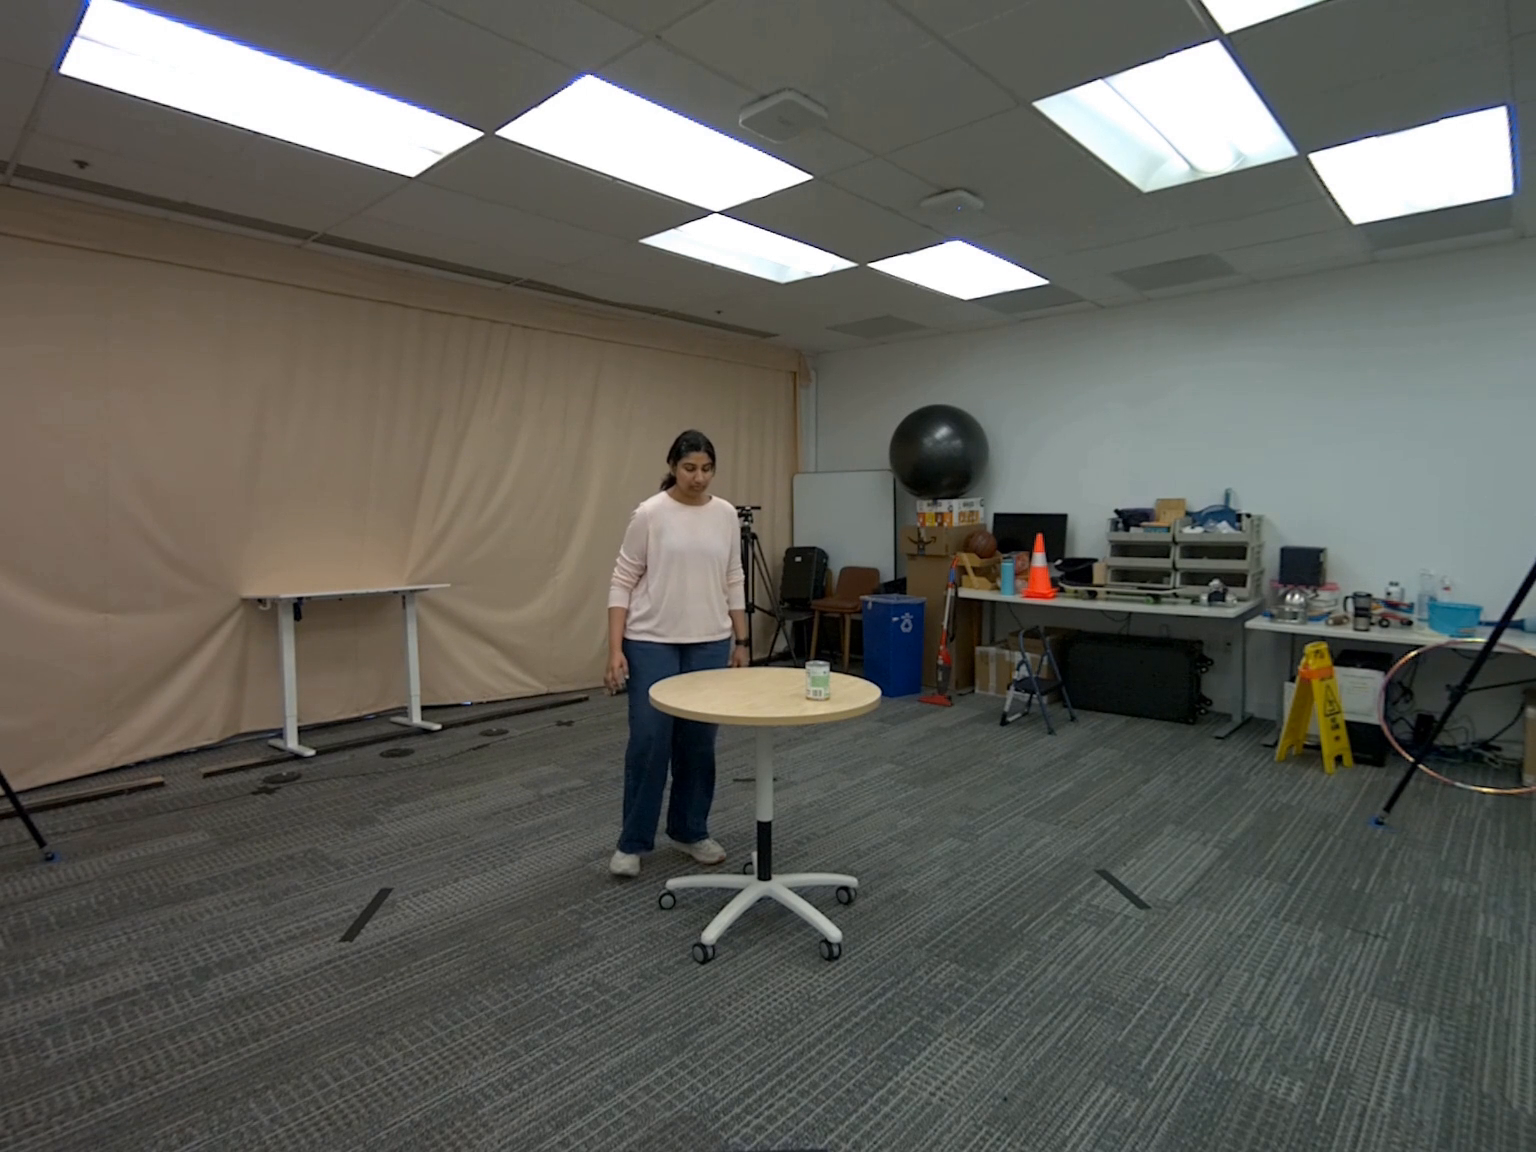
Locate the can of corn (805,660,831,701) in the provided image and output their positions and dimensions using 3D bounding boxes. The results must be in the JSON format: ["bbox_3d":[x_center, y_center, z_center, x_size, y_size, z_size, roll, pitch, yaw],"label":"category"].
[{"bbox_3d":[0.167,0.333,2.639,0.074,0.111,0.074,-1,4,-2],"label":"can of corn"}]
